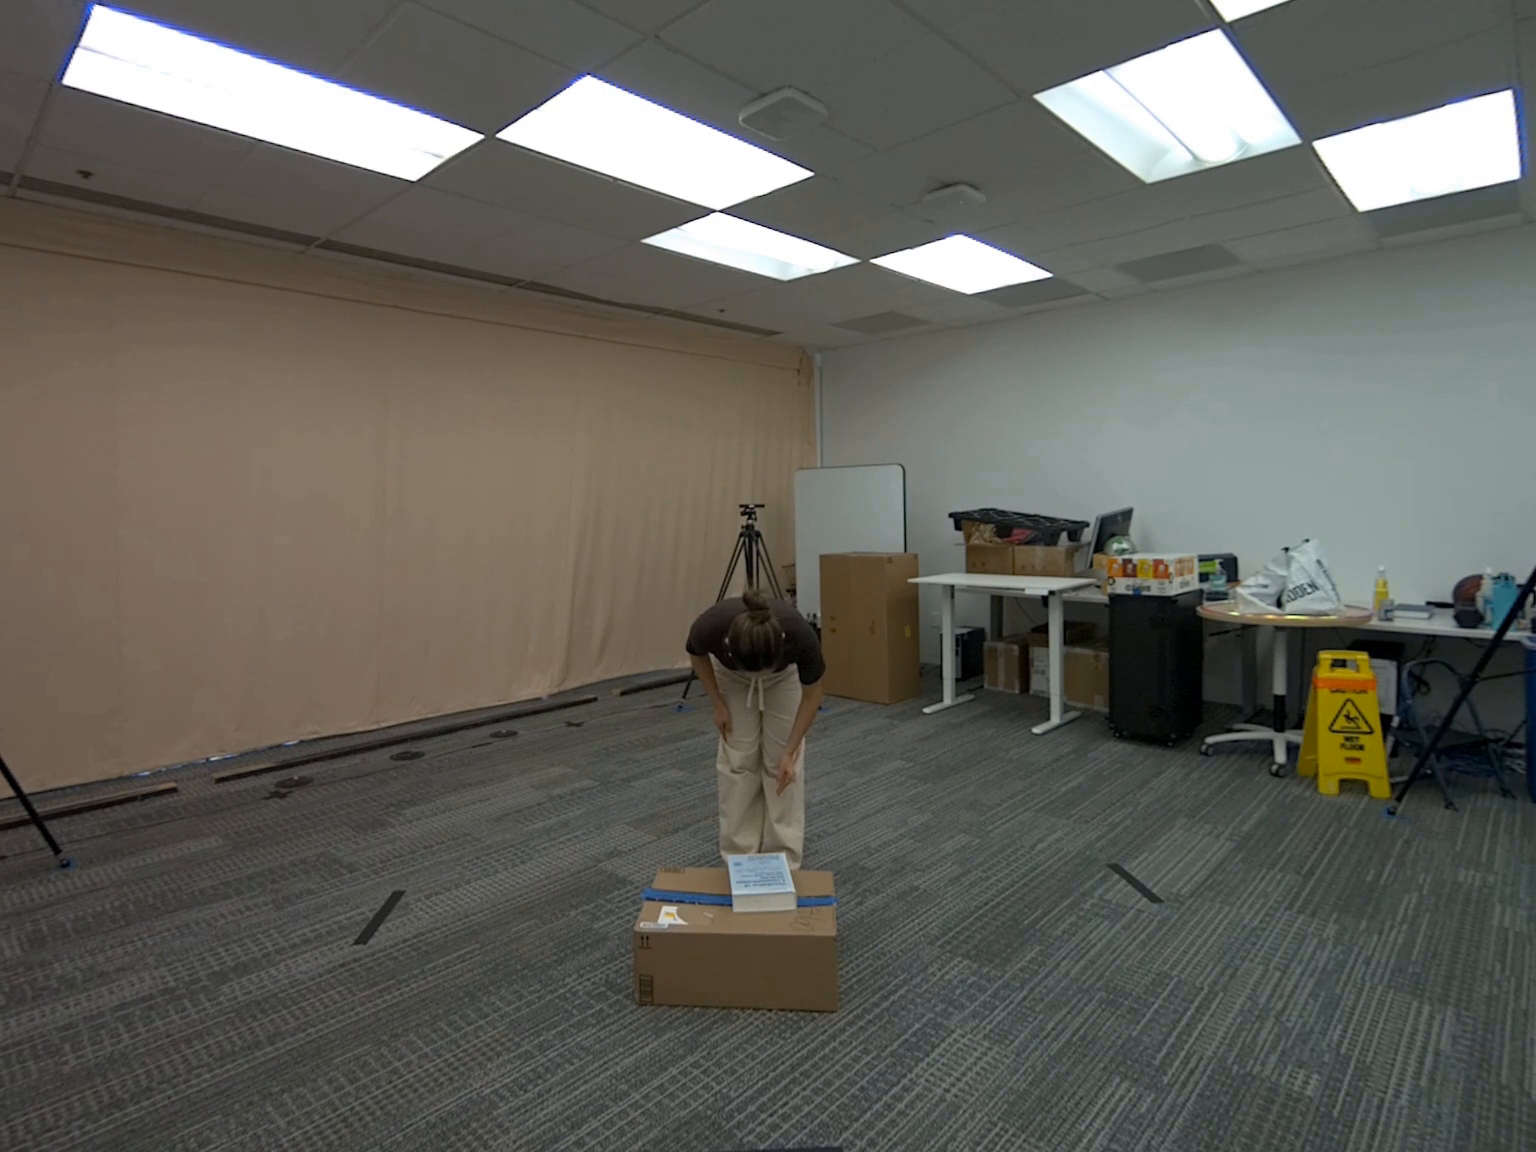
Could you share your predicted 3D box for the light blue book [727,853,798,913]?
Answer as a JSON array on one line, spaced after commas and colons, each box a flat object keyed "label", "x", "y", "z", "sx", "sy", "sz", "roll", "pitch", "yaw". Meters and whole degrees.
[{"label": "light blue book", "x": -0.020, "y": 0.927, "z": 2.582, "sx": 0.191, "sy": 0.059, "sz": 0.263, "roll": -2, "pitch": 6, "yaw": -4}]
